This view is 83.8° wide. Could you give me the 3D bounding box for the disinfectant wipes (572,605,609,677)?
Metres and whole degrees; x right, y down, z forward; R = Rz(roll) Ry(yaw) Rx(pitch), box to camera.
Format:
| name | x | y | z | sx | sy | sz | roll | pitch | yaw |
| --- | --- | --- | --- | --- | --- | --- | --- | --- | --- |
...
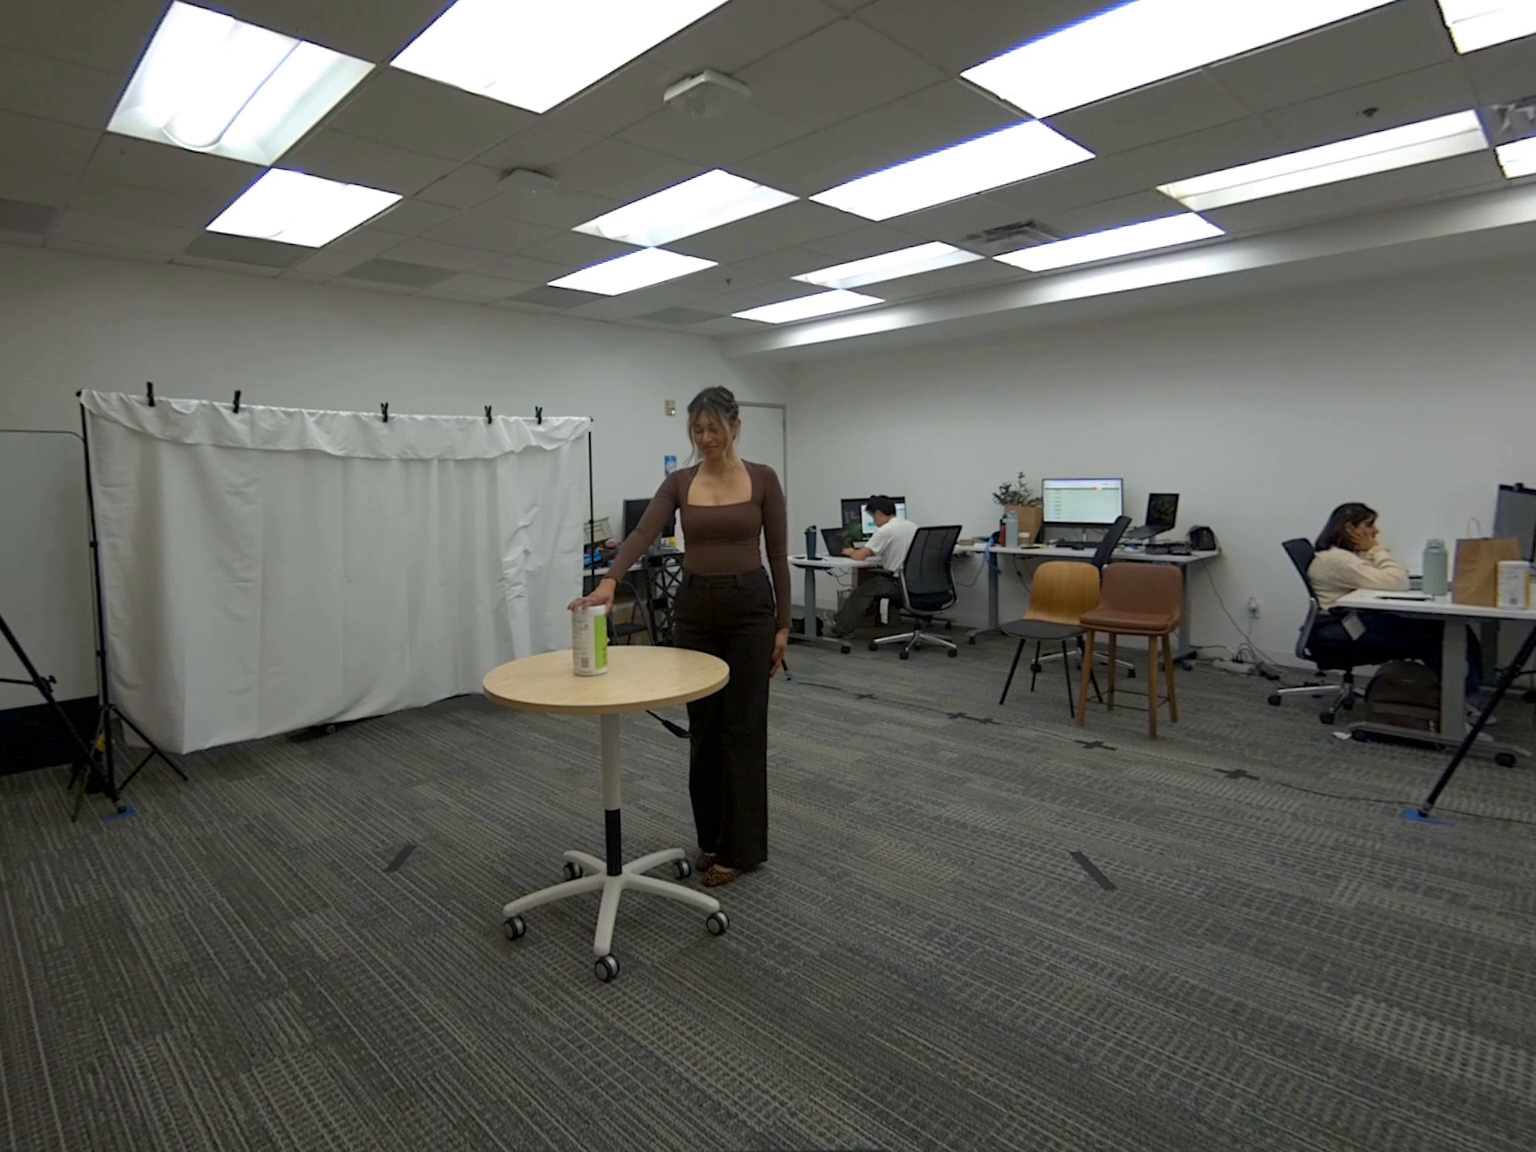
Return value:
| name | x | y | z | sx | sy | sz | roll | pitch | yaw |
| --- | --- | --- | --- | --- | --- | --- | --- | --- | --- |
| disinfectant wipes | -0.558 | 0.199 | 2.677 | 0.118 | 0.217 | 0.118 | 1 | 1 | -2 |
